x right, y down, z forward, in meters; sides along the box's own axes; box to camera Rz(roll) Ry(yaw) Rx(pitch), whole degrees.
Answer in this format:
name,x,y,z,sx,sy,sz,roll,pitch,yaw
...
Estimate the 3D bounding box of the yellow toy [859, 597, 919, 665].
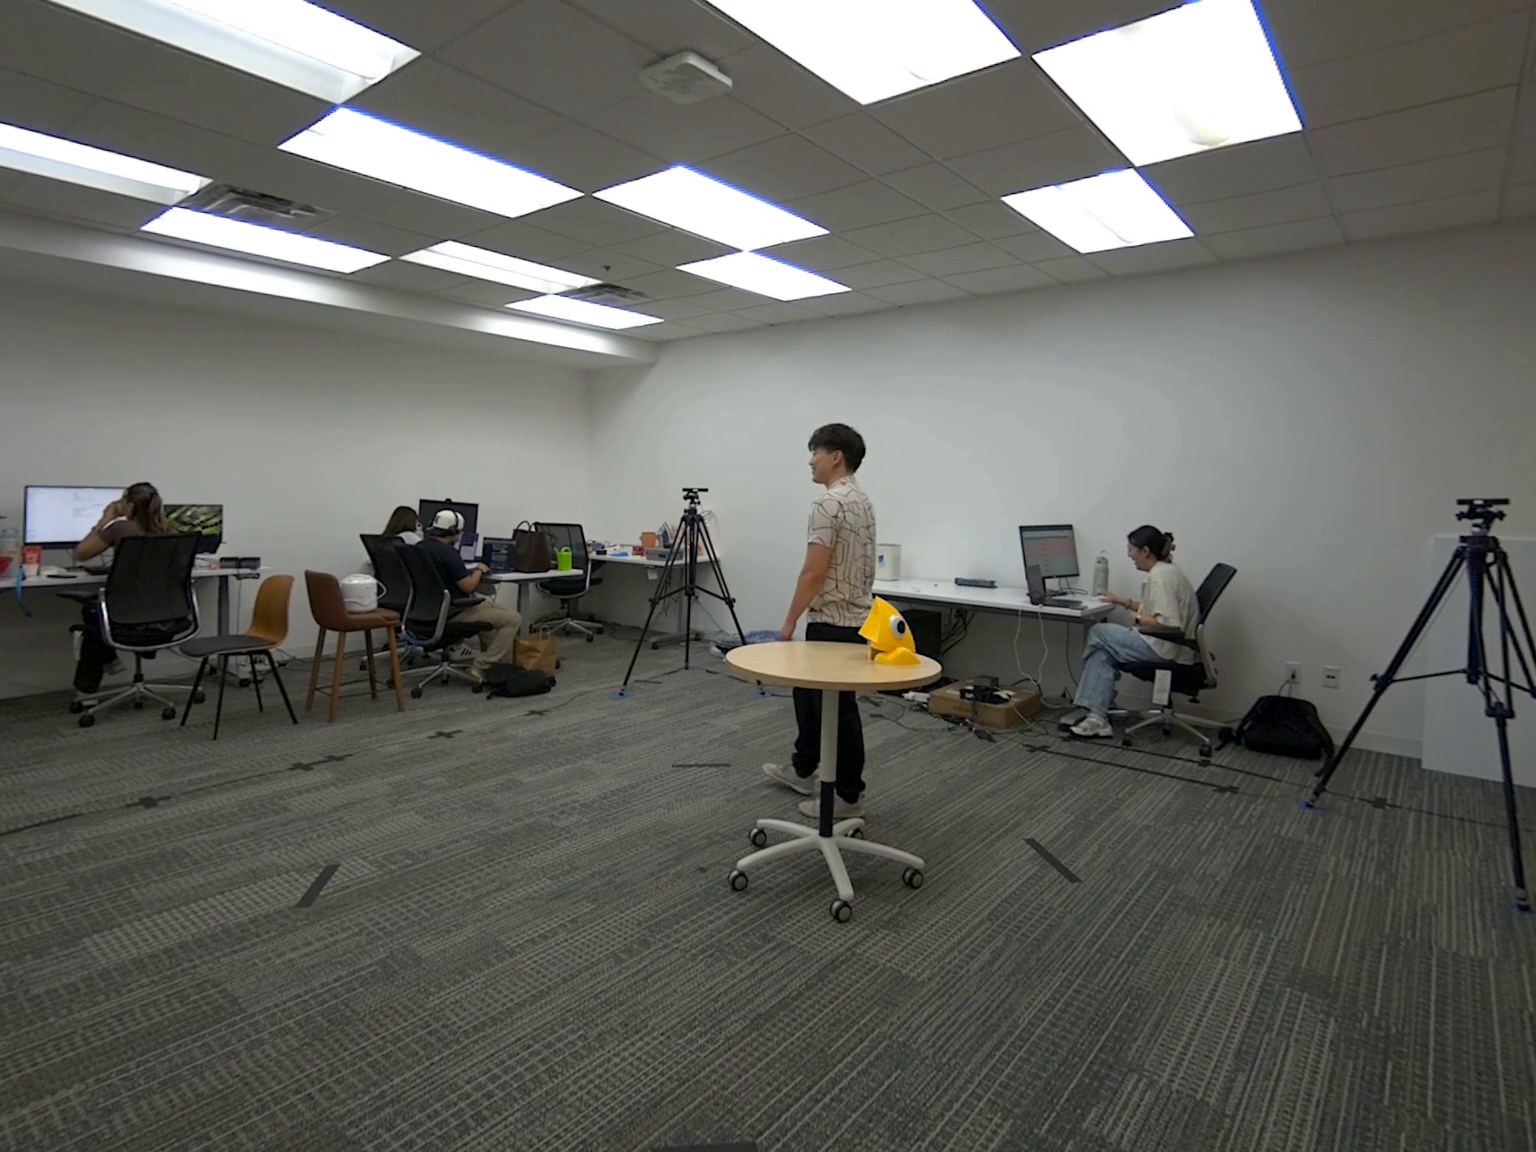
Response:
name,x,y,z,sx,sy,sz,roll,pitch,yaw
yellow toy,0.446,0.185,3.106,0.191,0.230,0.208,0,4,-11
